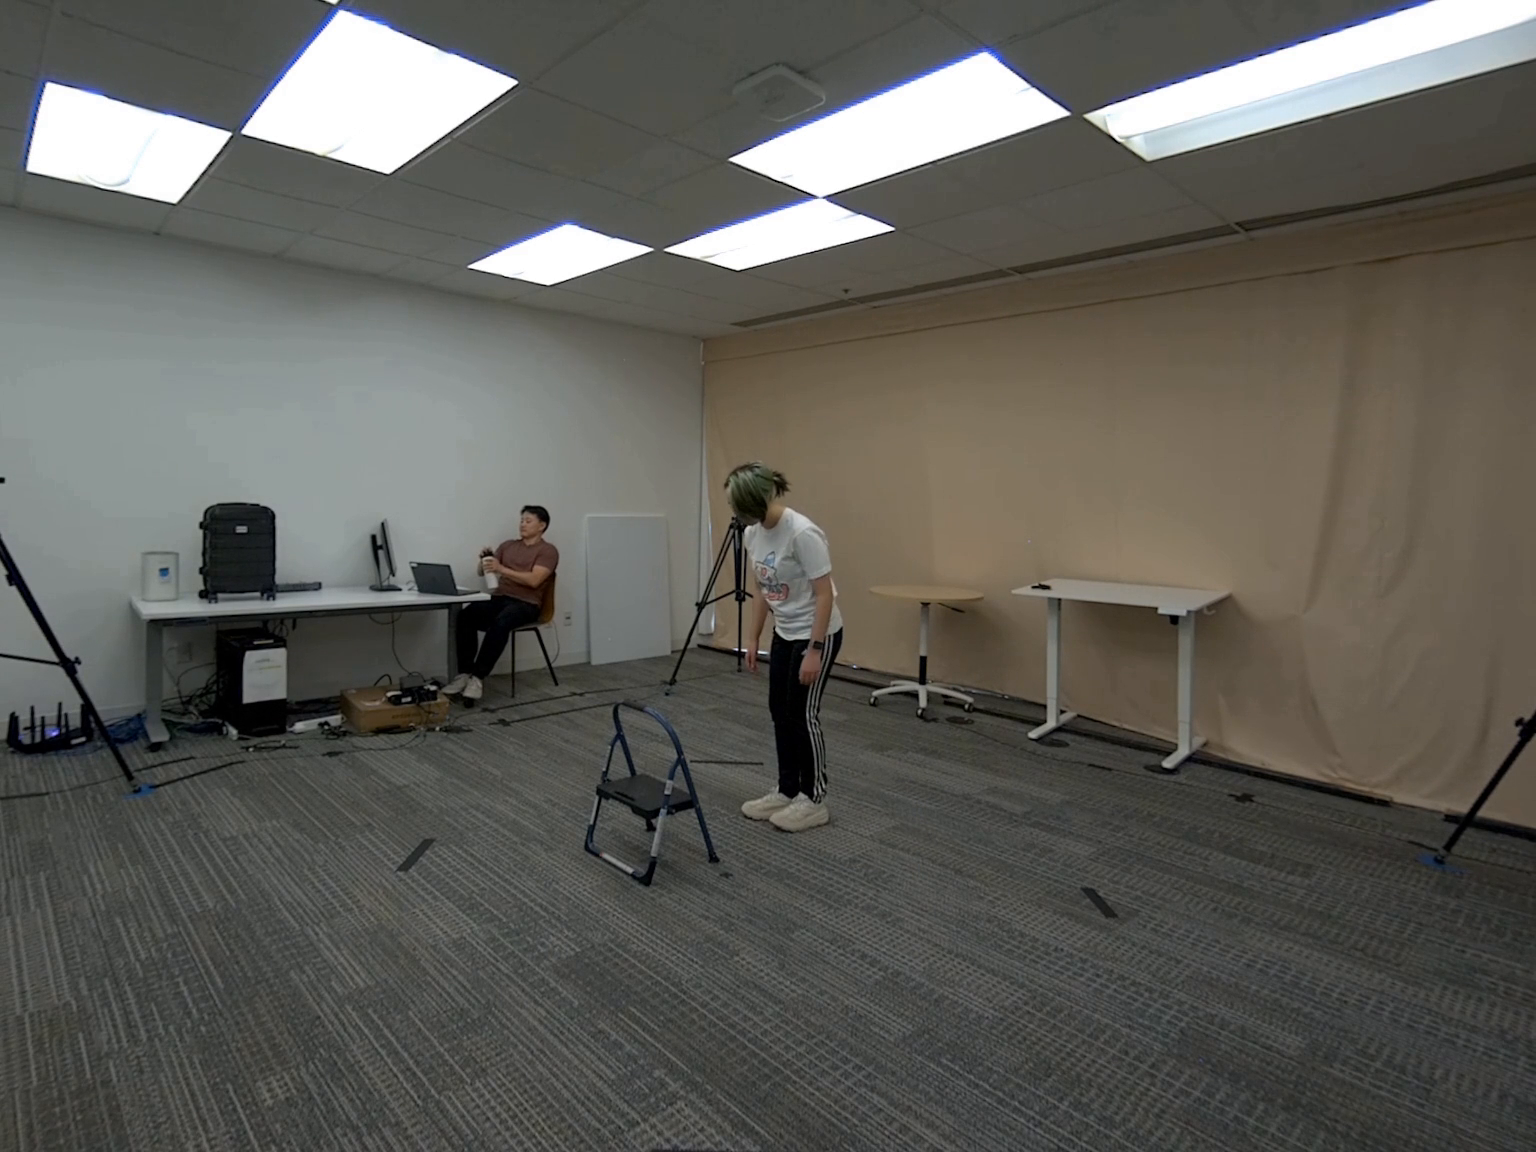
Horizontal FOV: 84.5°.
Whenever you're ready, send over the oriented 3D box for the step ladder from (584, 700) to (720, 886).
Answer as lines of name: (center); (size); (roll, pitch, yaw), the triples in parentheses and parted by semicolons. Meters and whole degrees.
step ladder: (-0.453, 0.782, 3.244); (0.341, 0.605, 0.441); (-1, 4, -44)
